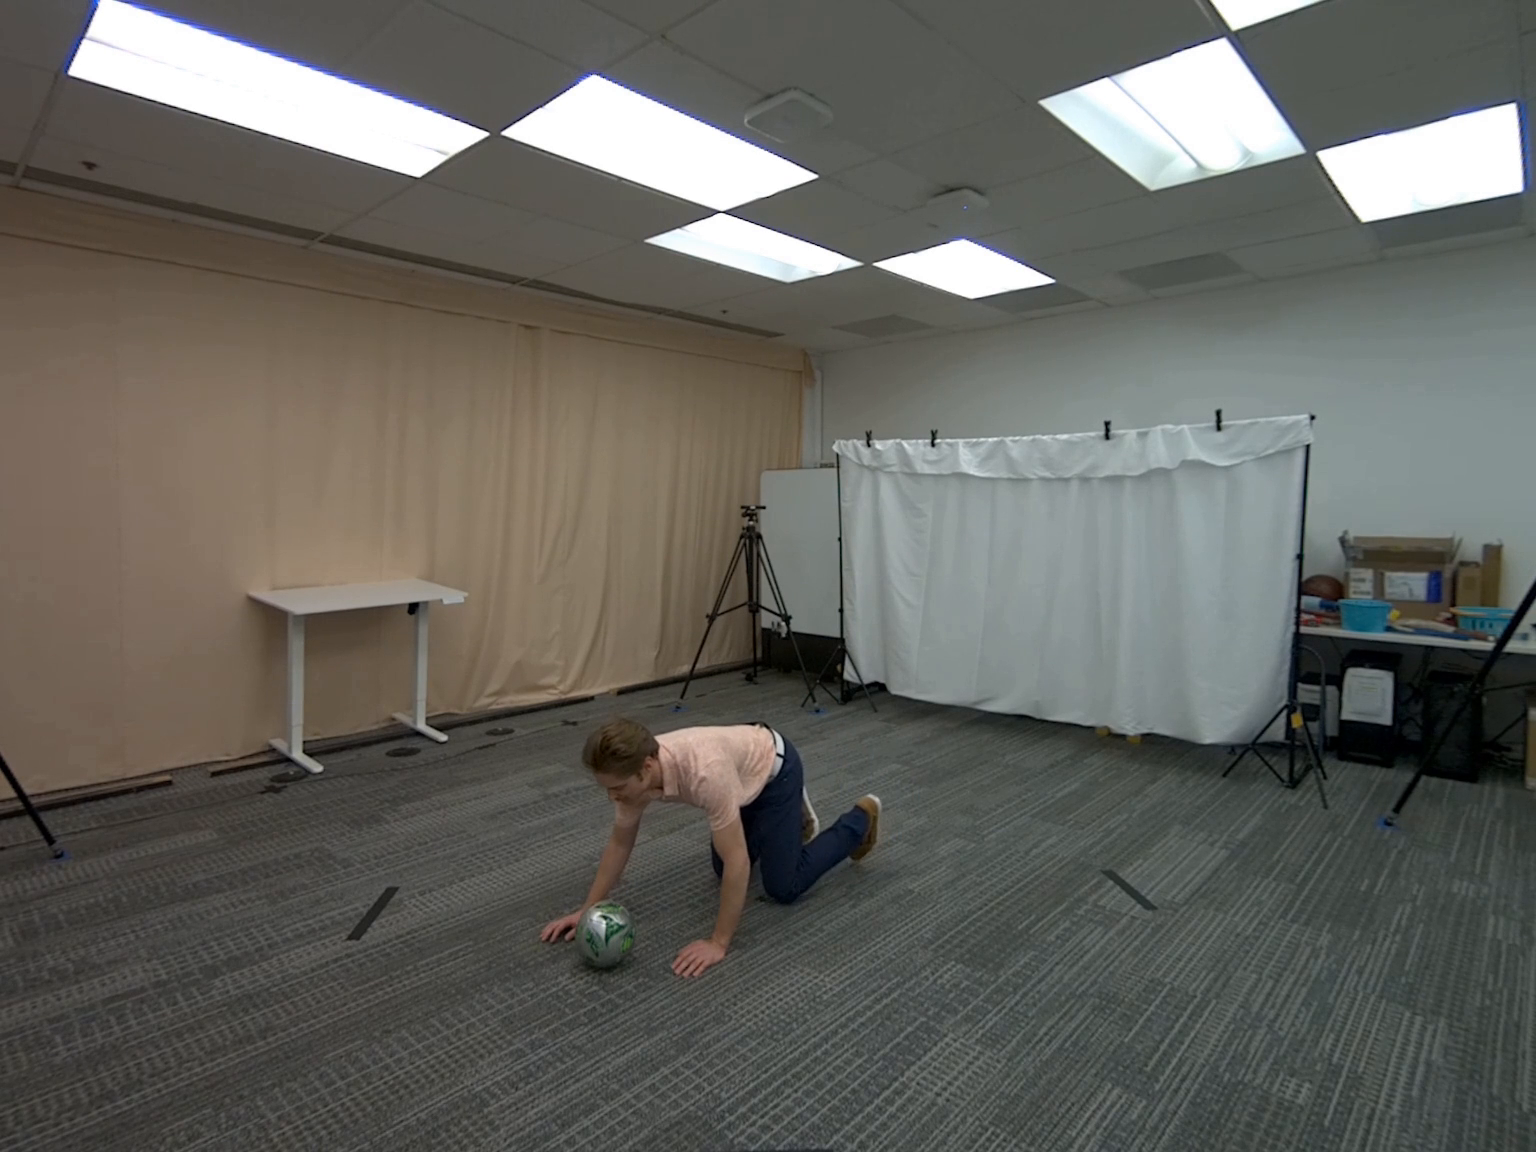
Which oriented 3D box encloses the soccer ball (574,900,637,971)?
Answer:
[{"bbox_3d":[-0.497,1.092,2.557,0.187,0.187,0.188,0,4,-2],"label":"soccer ball"}]
